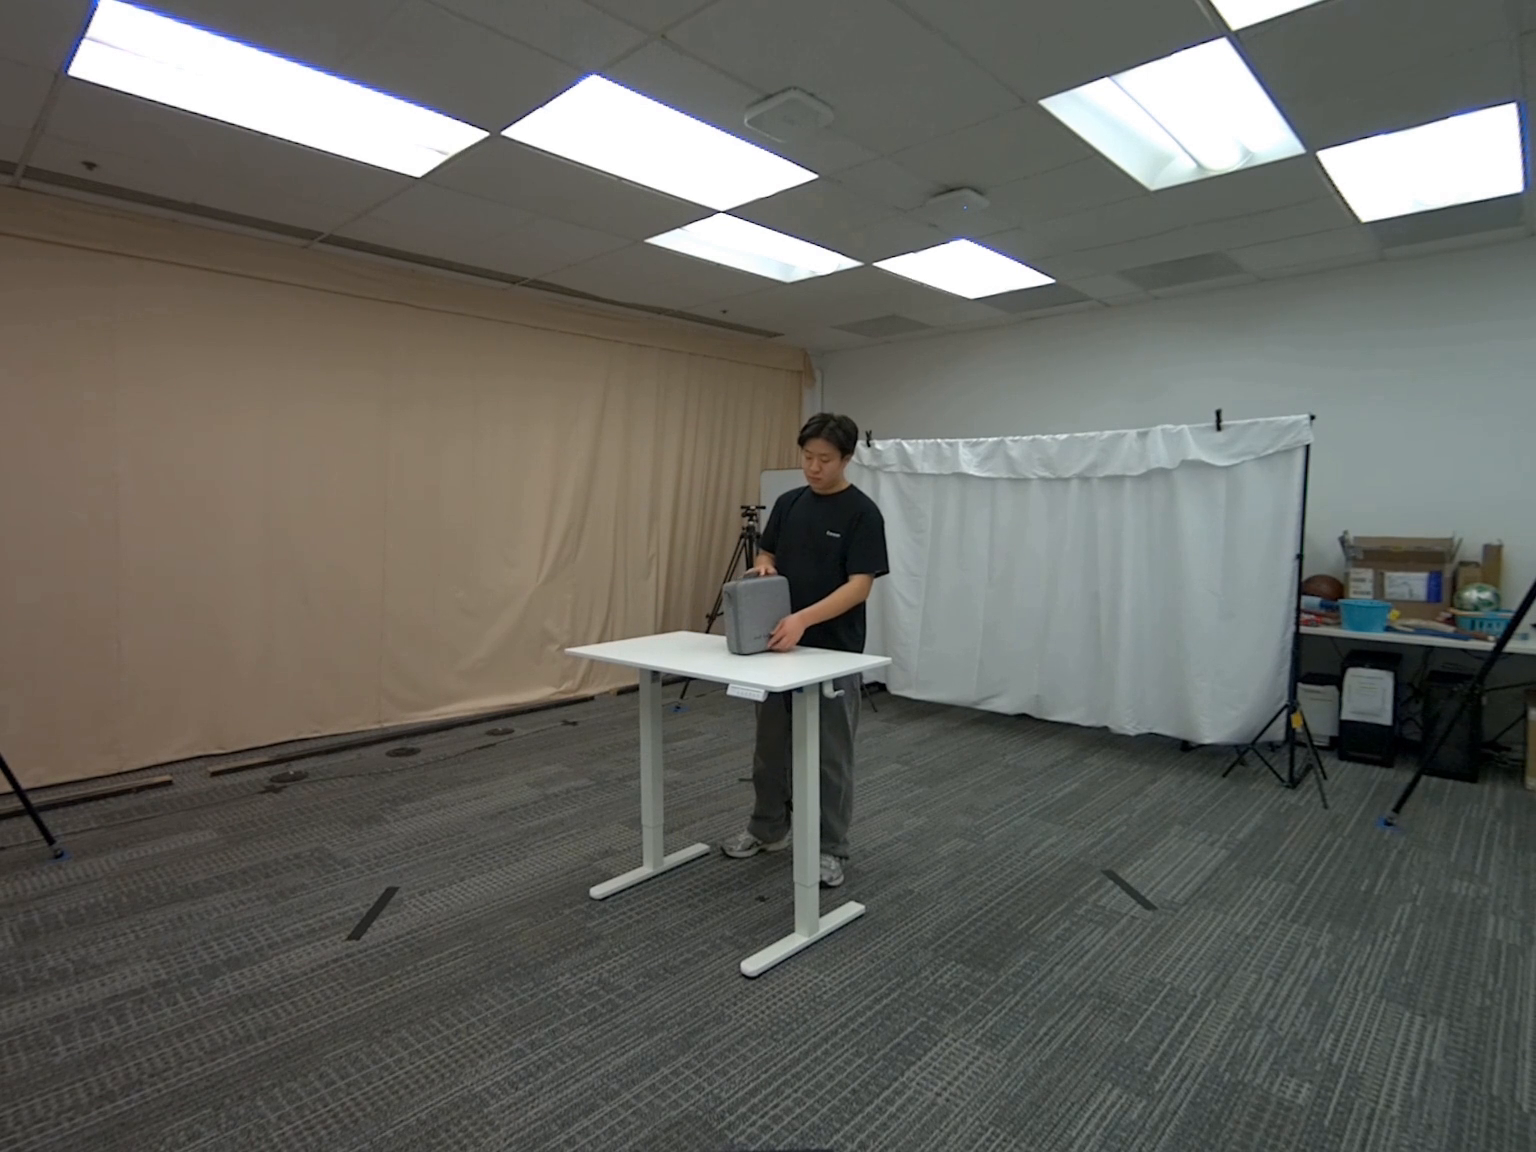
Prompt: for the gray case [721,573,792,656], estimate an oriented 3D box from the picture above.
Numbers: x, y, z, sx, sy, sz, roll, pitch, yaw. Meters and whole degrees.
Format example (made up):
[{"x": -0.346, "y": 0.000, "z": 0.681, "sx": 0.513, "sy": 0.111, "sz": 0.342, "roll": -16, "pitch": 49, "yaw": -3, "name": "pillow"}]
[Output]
[{"x": -0.032, "y": 0.131, "z": 2.950, "sx": 0.249, "sy": 0.260, "sz": 0.107, "roll": -4, "pitch": 2, "yaw": -43, "name": "gray case"}]
